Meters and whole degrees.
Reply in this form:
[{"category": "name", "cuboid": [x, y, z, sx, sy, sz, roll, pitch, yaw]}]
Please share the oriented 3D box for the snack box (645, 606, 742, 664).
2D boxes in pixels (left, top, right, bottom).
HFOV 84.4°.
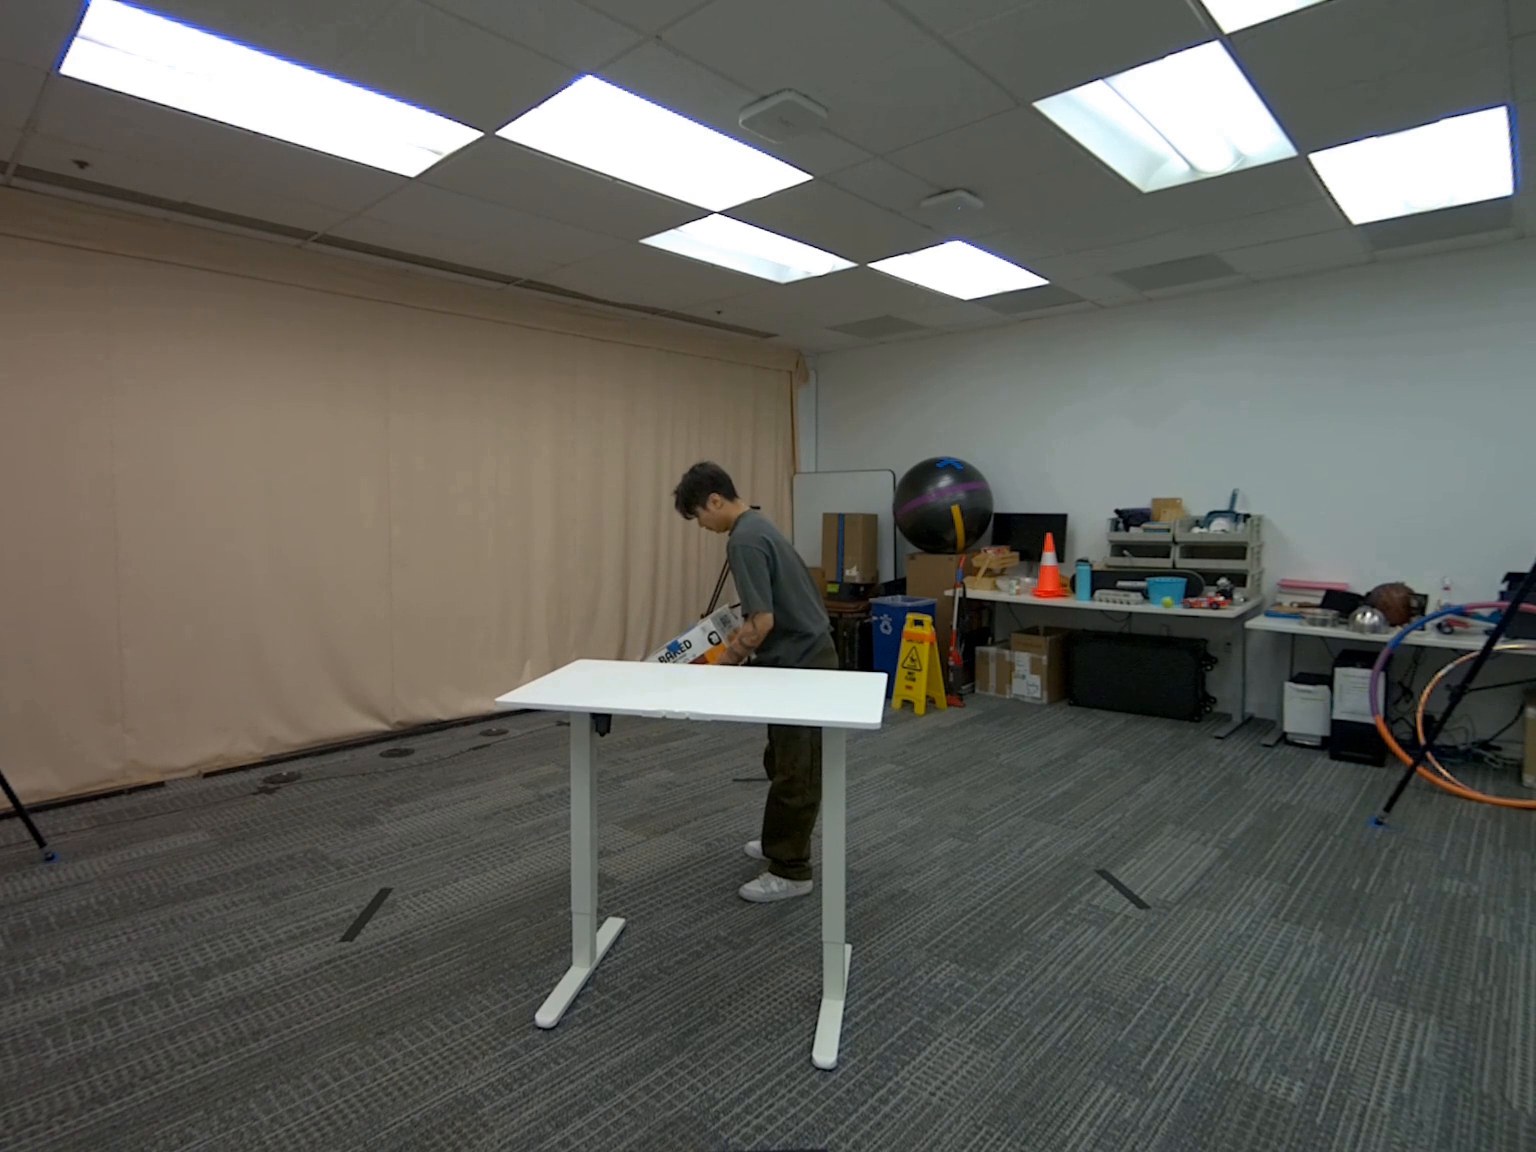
[{"category": "snack box", "cuboid": [-0.268, 0.309, 3.191, 0.342, 0.206, 0.402, -33, 1, 9]}]
